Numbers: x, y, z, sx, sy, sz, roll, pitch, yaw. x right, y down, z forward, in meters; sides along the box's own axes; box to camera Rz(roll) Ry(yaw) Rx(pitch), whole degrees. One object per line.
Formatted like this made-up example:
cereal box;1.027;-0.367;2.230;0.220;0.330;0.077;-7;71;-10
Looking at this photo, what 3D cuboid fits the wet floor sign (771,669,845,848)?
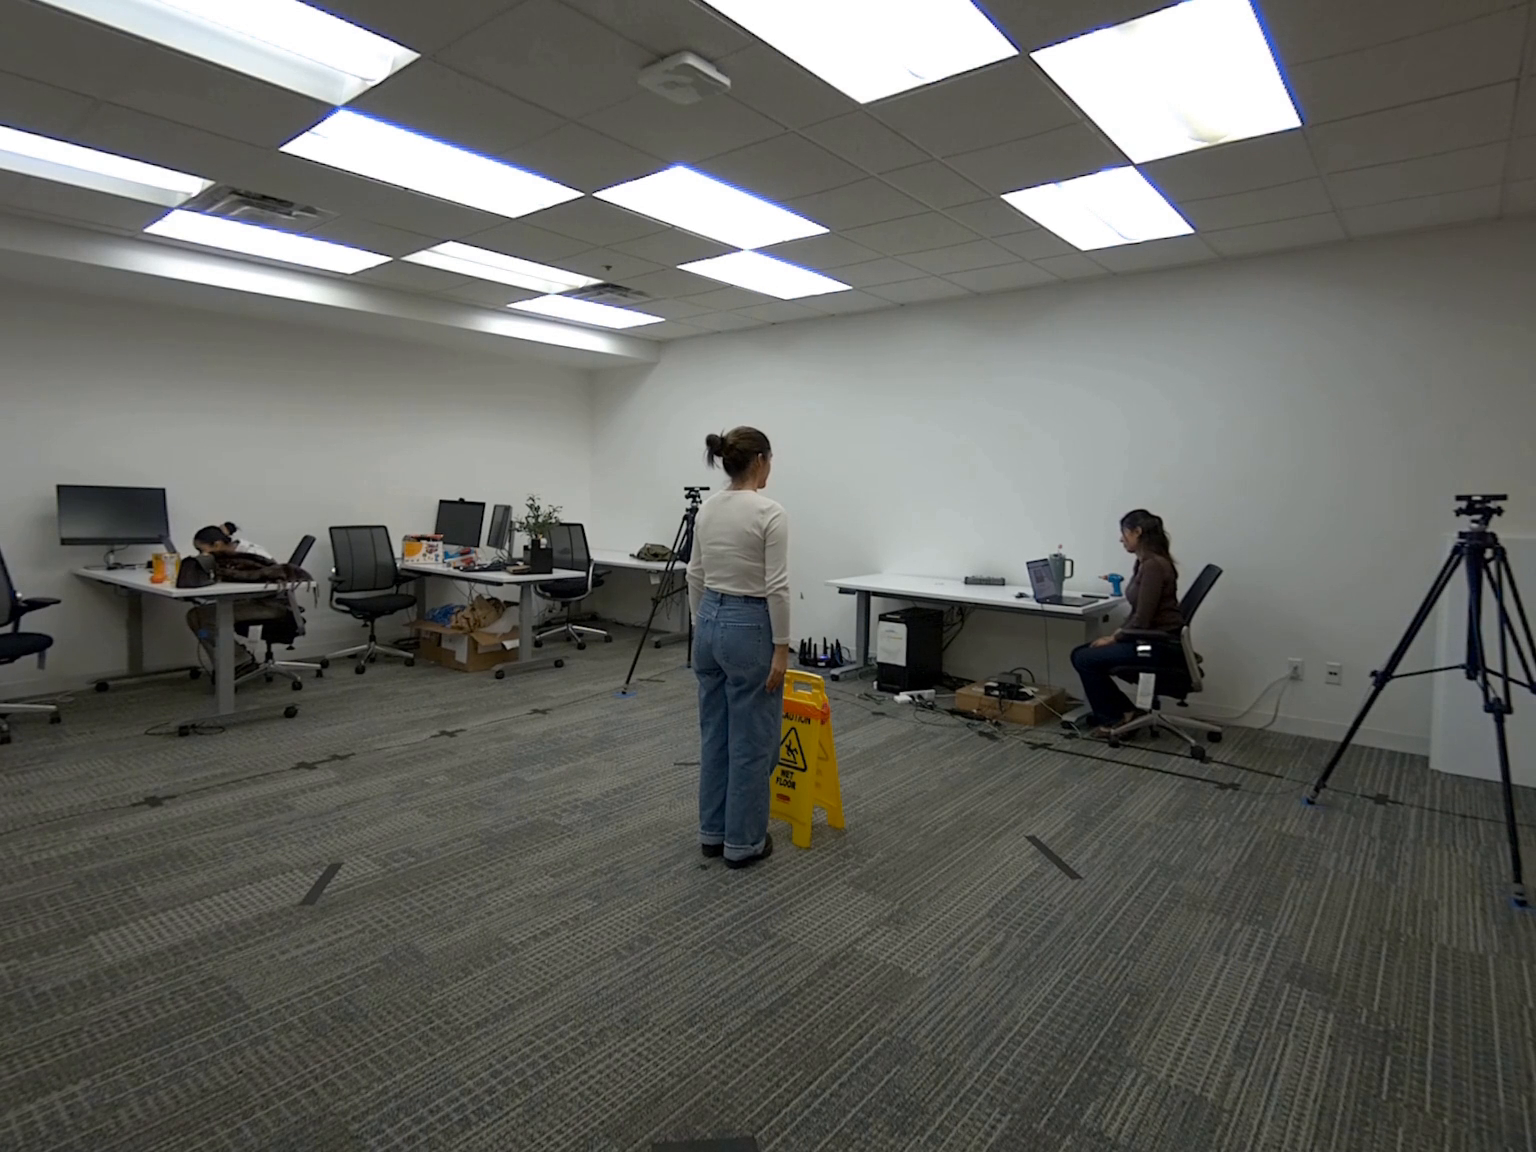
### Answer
wet floor sign;0.124;0.710;3.472;0.292;0.644;0.281;5;4;39
